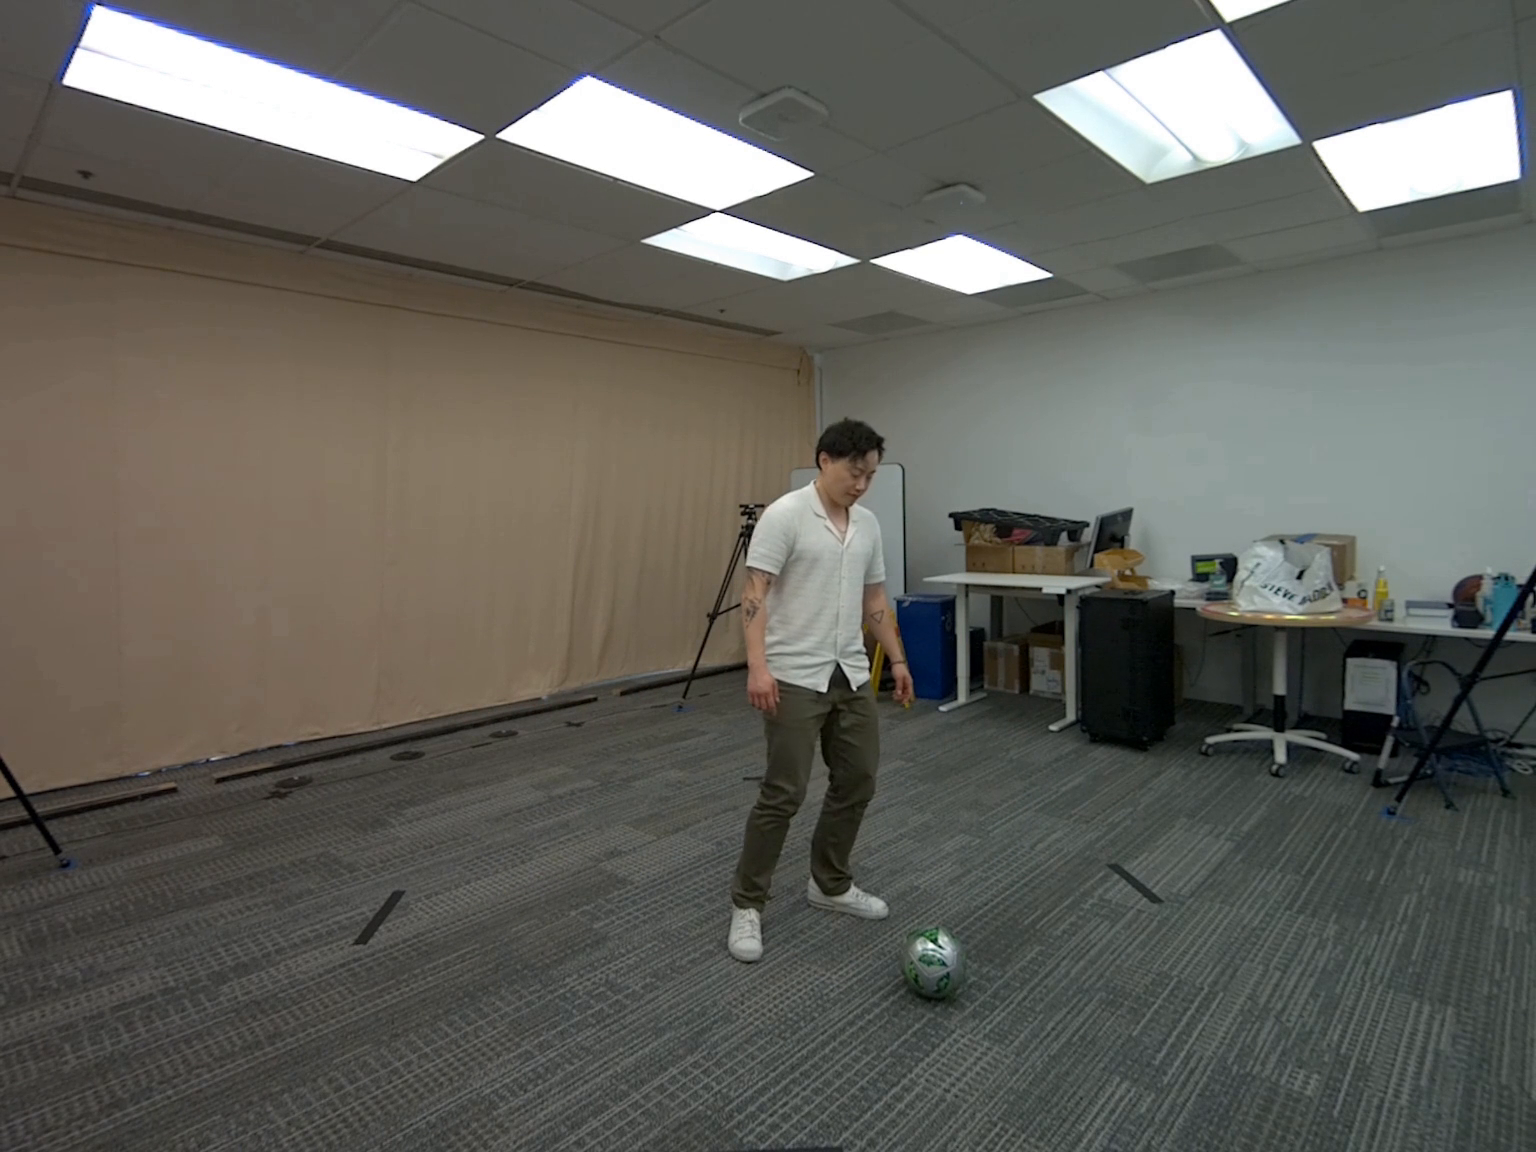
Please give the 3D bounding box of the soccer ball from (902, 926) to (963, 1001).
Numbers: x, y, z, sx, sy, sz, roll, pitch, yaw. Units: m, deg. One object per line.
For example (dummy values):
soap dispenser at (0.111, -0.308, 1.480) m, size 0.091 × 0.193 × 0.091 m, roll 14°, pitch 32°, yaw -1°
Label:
soccer ball at (0.473, 1.096, 2.380) m, size 0.187 × 0.187 × 0.188 m, roll -1°, pitch 4°, yaw -2°
